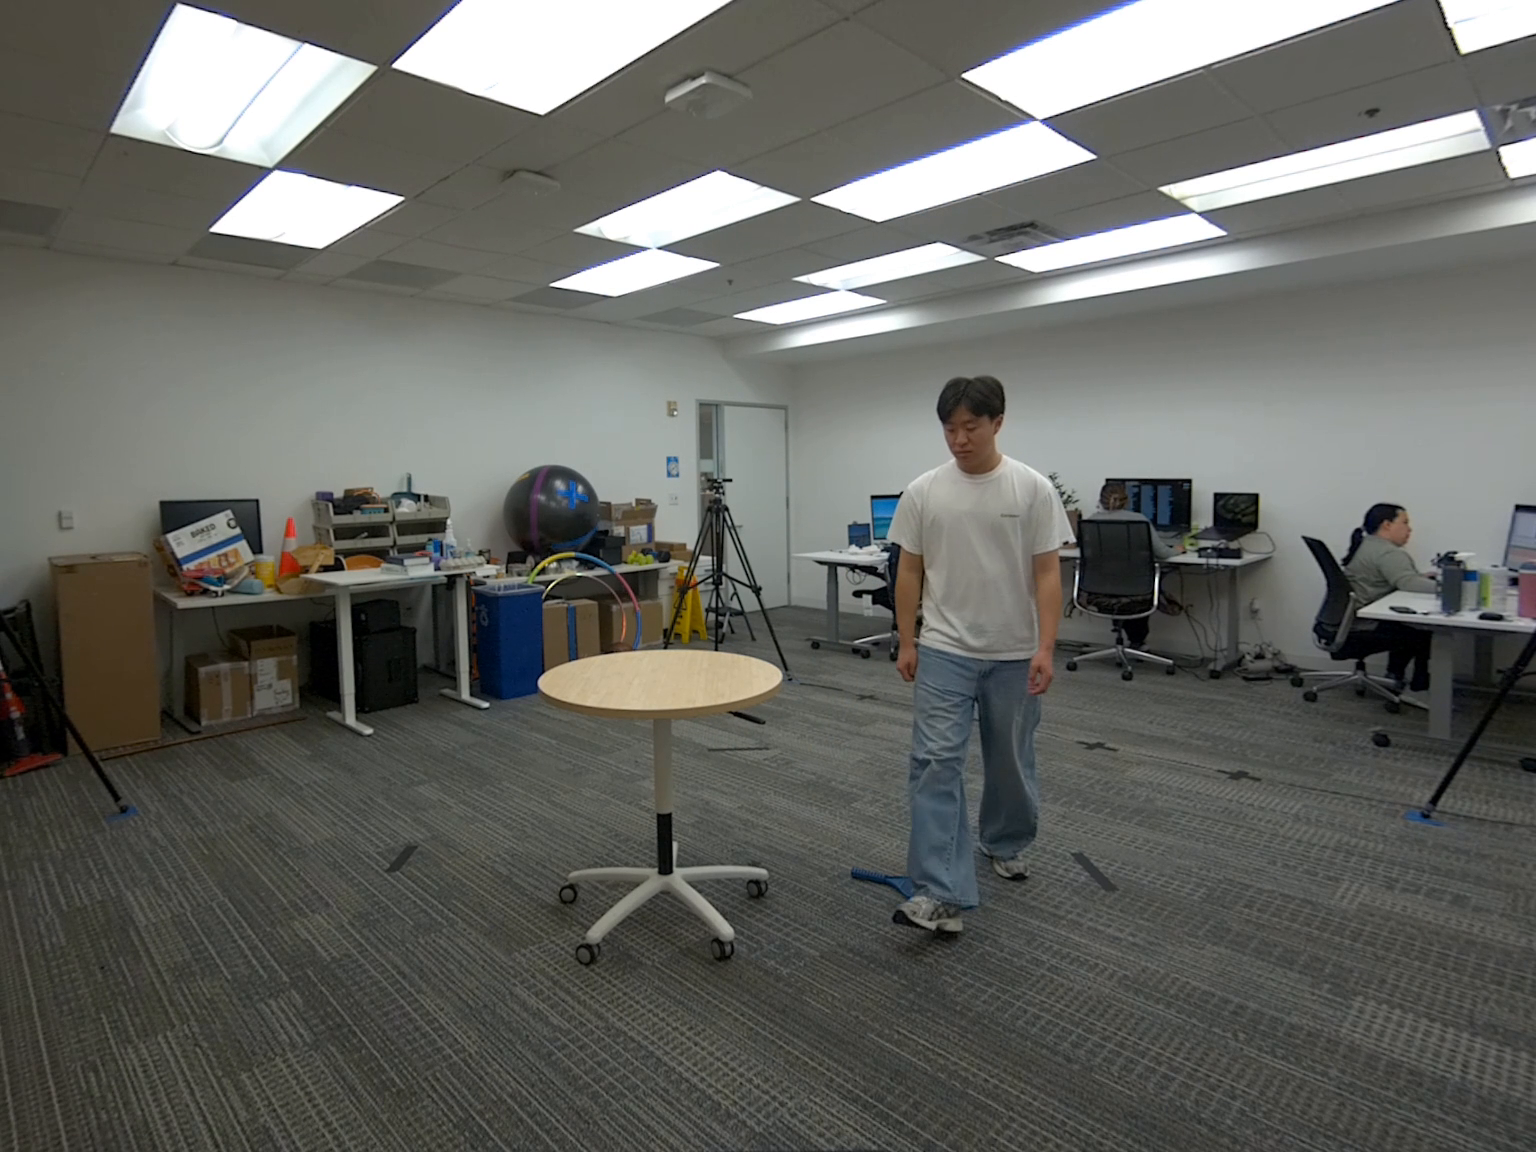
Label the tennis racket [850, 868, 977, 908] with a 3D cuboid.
[{"bbox_3d":[0.497,1.046,2.888,0.443,0.031,0.209,4,7,25],"label":"tennis racket"}]
